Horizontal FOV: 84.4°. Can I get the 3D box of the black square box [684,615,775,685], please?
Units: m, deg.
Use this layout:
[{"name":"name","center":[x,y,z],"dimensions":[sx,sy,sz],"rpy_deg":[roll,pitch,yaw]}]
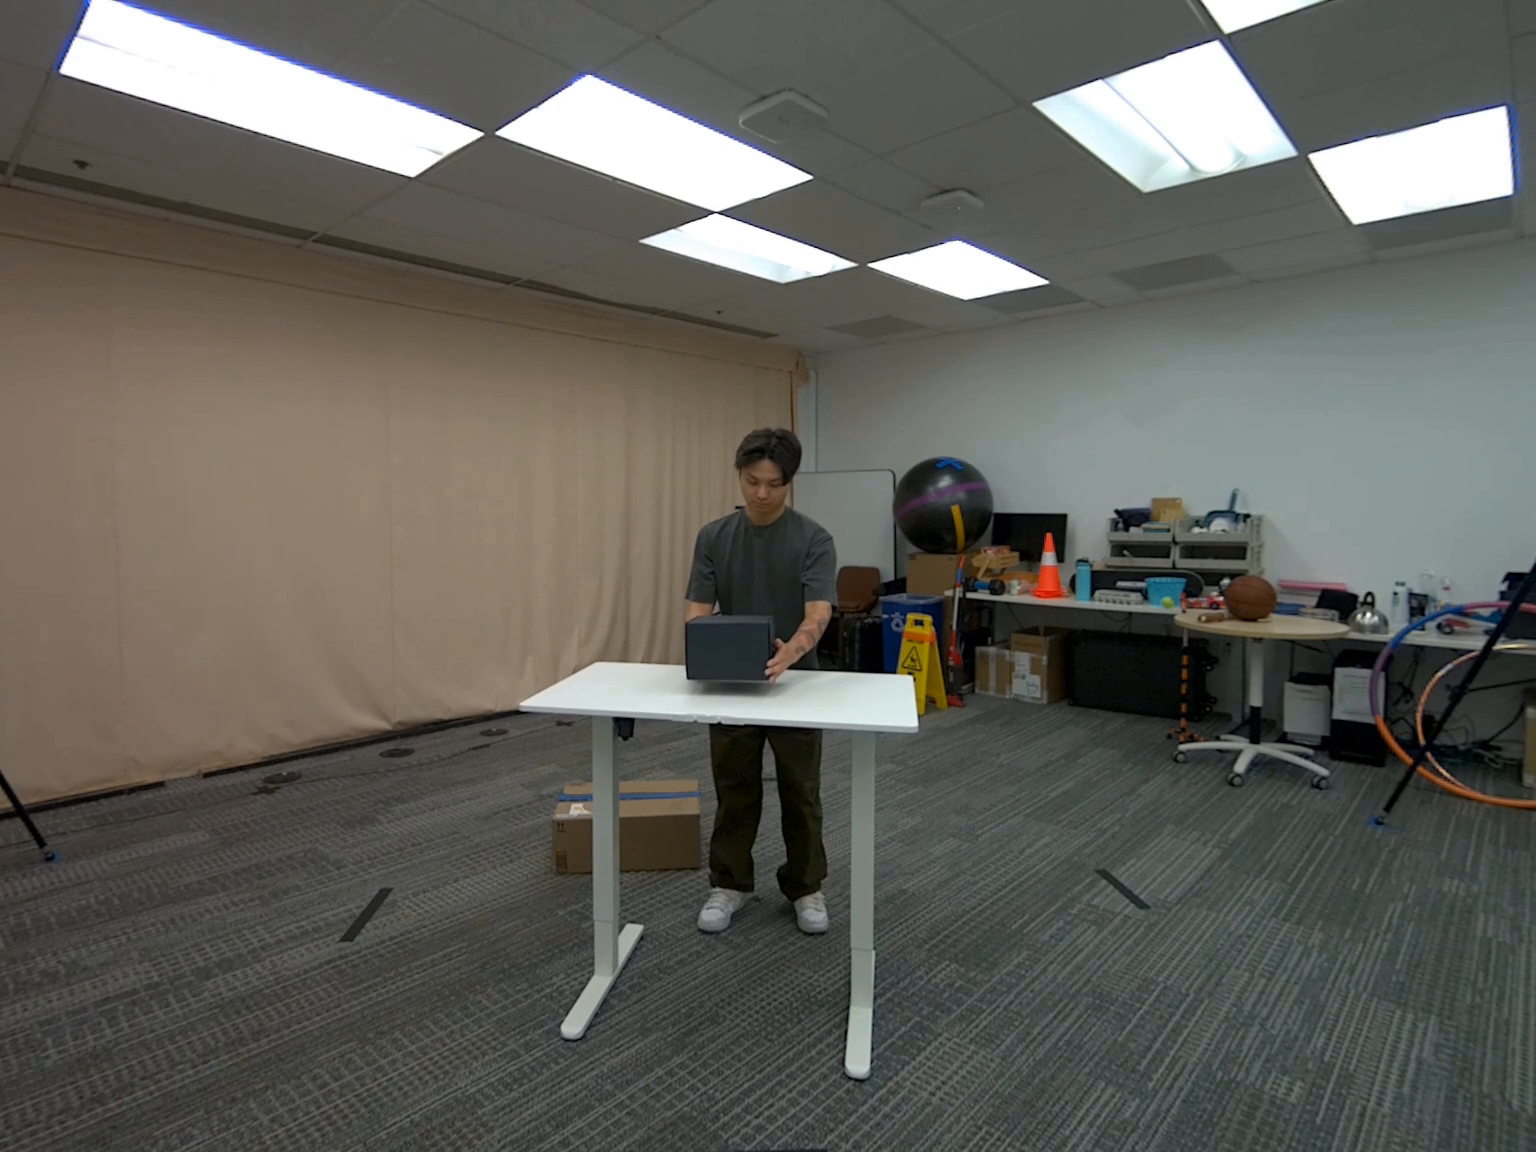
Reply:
[{"name":"black square box","center":[-0.107,0.196,2.354],"dimensions":[0.230,0.156,0.215],"rpy_deg":[0,1,7]}]
